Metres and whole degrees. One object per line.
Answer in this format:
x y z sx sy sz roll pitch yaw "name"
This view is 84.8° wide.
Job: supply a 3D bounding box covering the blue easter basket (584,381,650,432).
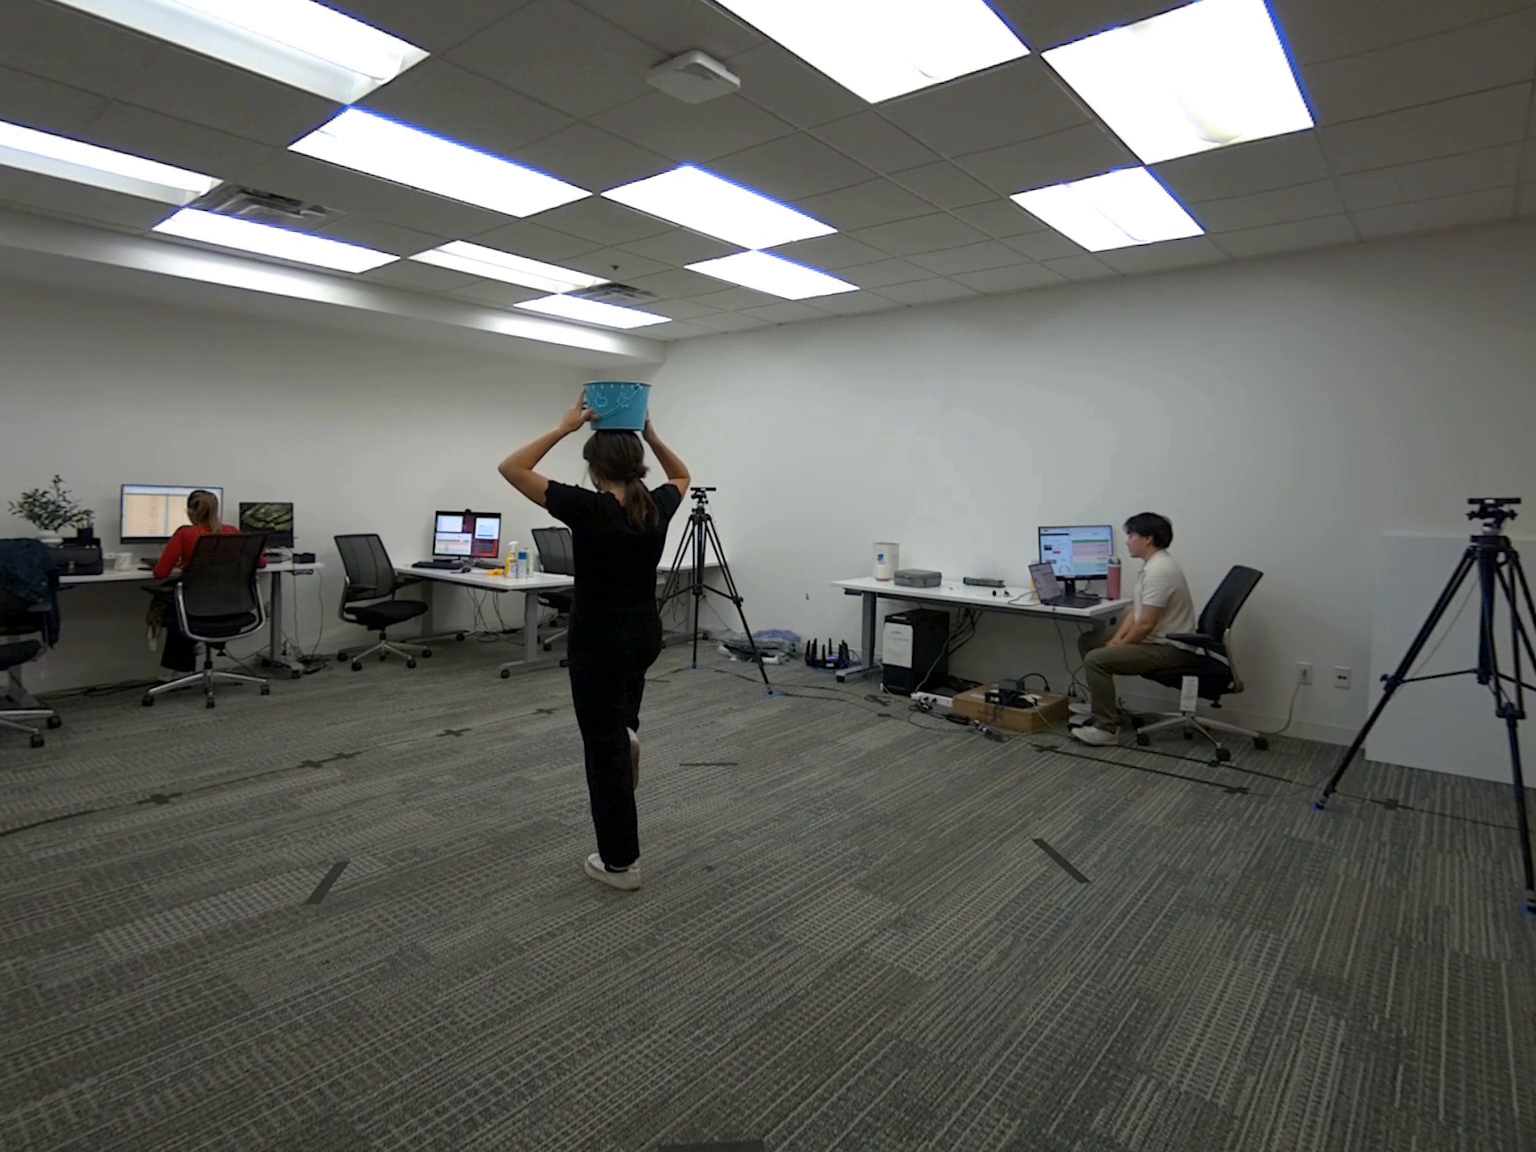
-0.528 -0.575 2.866 0.243 0.155 0.245 1 6 -2 "blue easter basket"
